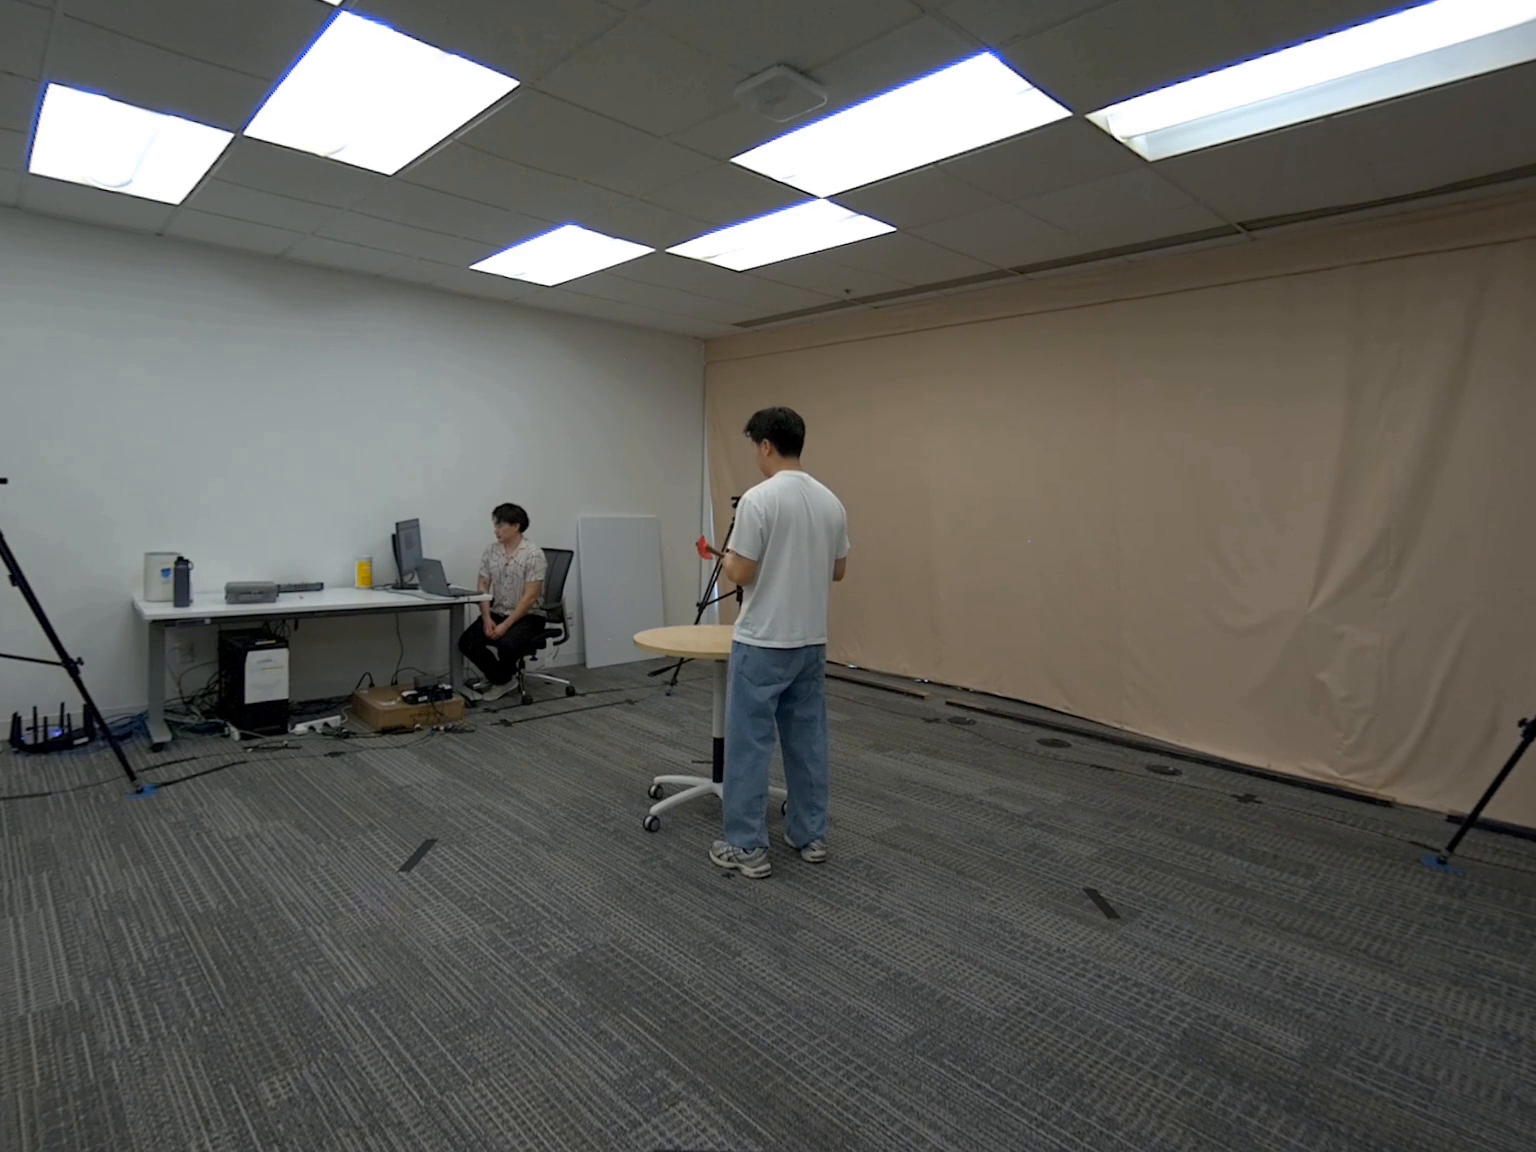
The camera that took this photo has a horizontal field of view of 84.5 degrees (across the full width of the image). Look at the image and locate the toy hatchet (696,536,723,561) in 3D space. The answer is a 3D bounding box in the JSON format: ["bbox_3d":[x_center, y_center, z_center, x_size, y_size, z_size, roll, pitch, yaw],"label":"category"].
[{"bbox_3d":[-0.195,-0.062,3.482,0.029,0.272,0.130,-45,-8,-42],"label":"toy hatchet"}]
